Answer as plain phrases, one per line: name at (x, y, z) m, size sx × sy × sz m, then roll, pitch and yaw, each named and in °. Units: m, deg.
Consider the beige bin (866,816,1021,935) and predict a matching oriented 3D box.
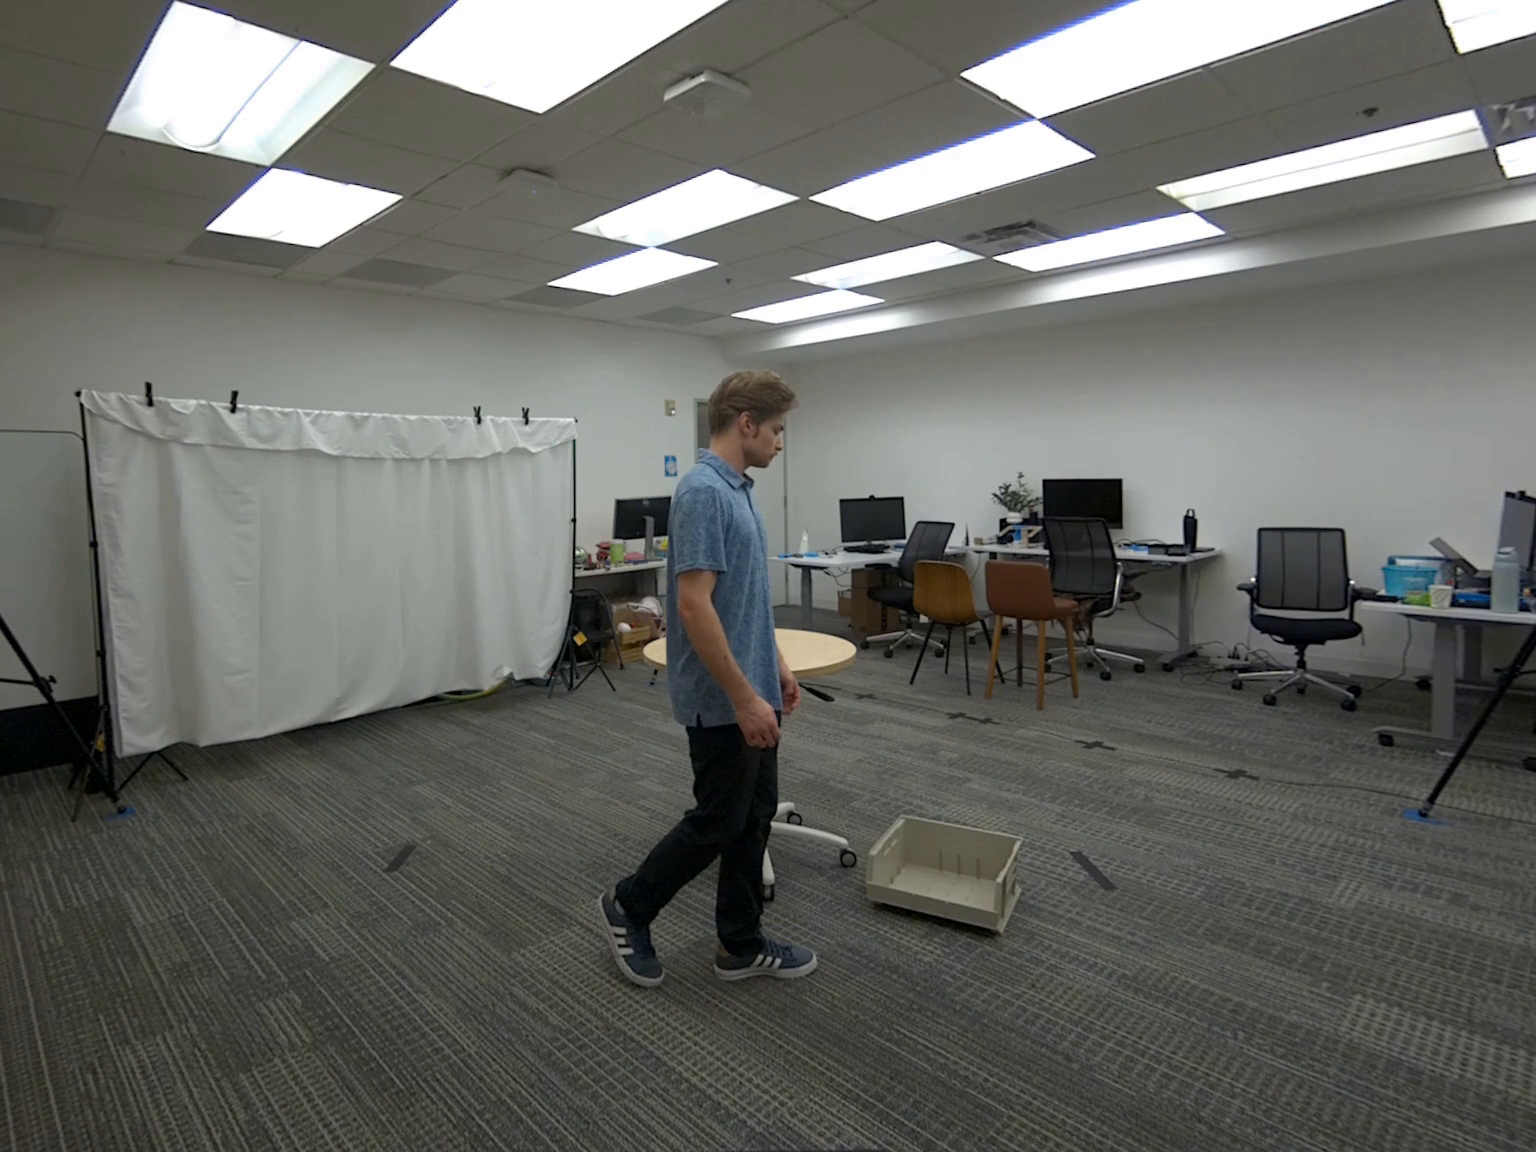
beige bin at (0.589, 0.977, 2.804) m, size 0.433 × 0.188 × 0.369 m, roll 2°, pitch 6°, yaw 29°
